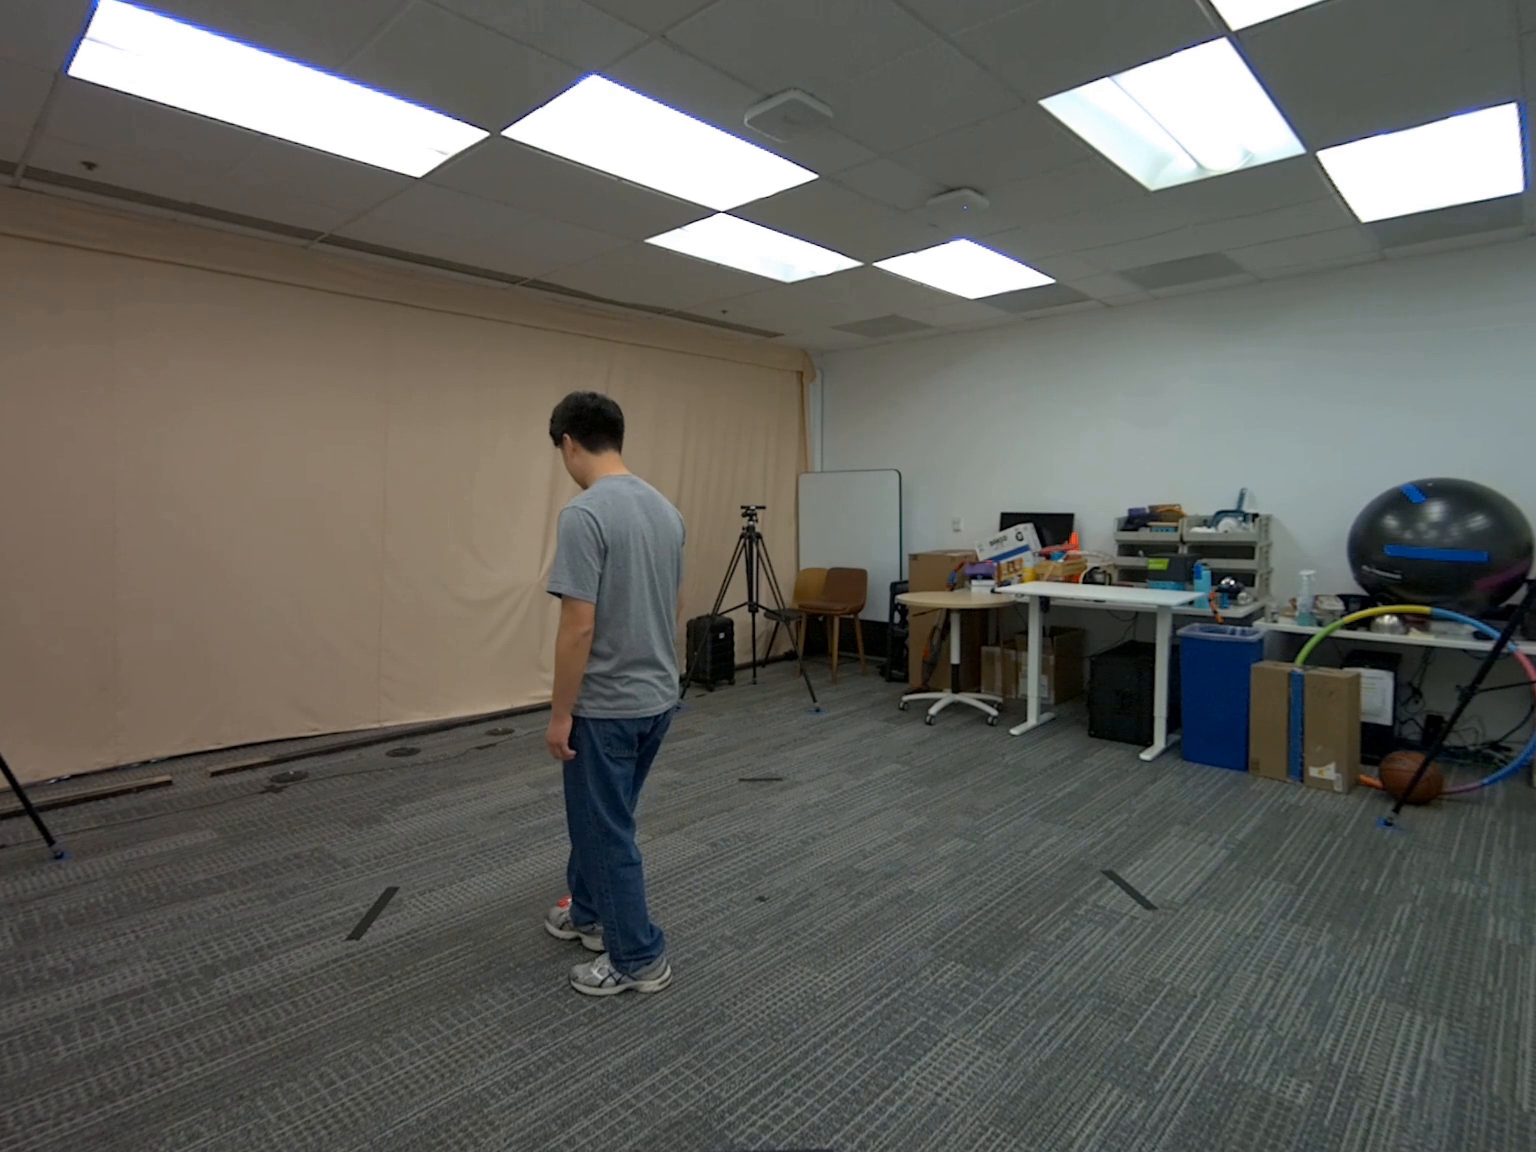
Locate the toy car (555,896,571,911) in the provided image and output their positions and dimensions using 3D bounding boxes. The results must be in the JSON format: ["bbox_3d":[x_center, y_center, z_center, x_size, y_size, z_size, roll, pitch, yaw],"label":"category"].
[{"bbox_3d":[-0.585,1.130,2.833,0.261,0.083,0.127,-10,-2,28],"label":"toy car"}]
